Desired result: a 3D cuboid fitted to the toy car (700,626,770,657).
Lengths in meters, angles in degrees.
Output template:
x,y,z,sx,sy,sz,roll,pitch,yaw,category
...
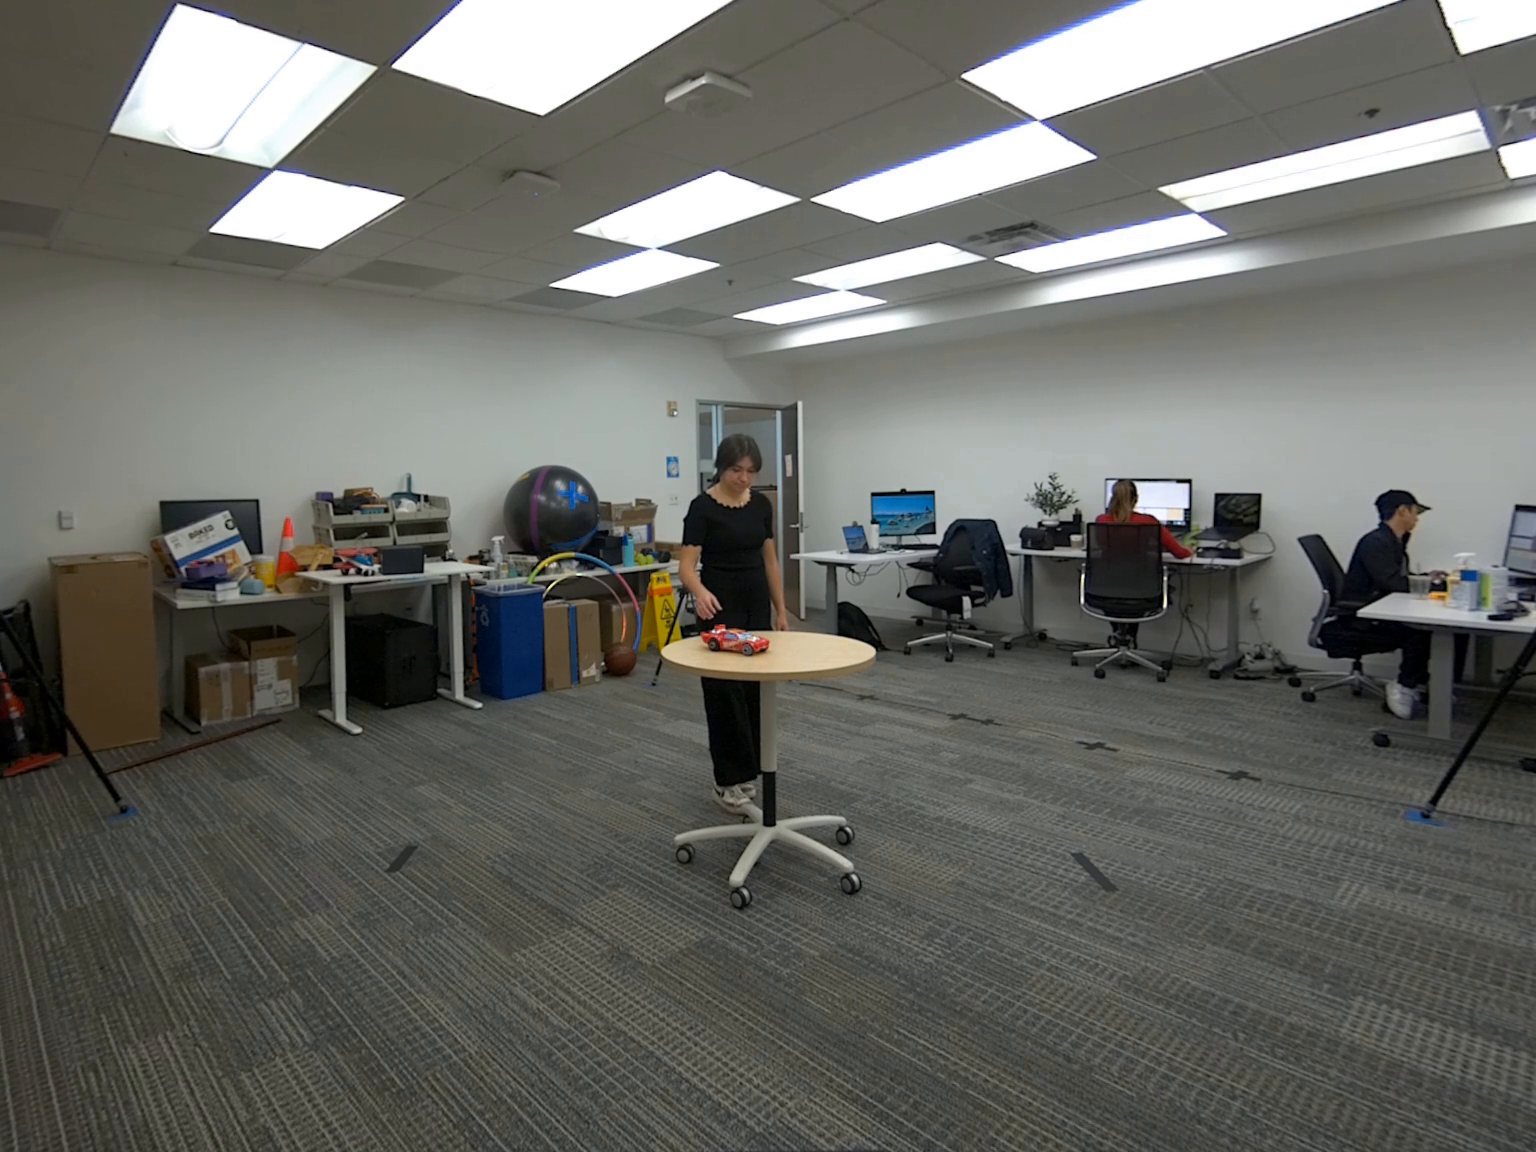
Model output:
x,y,z,sx,sy,sz,roll,pitch,yaw,category
-0.125,0.238,3.052,0.263,0.082,0.127,16,14,34,toy car
